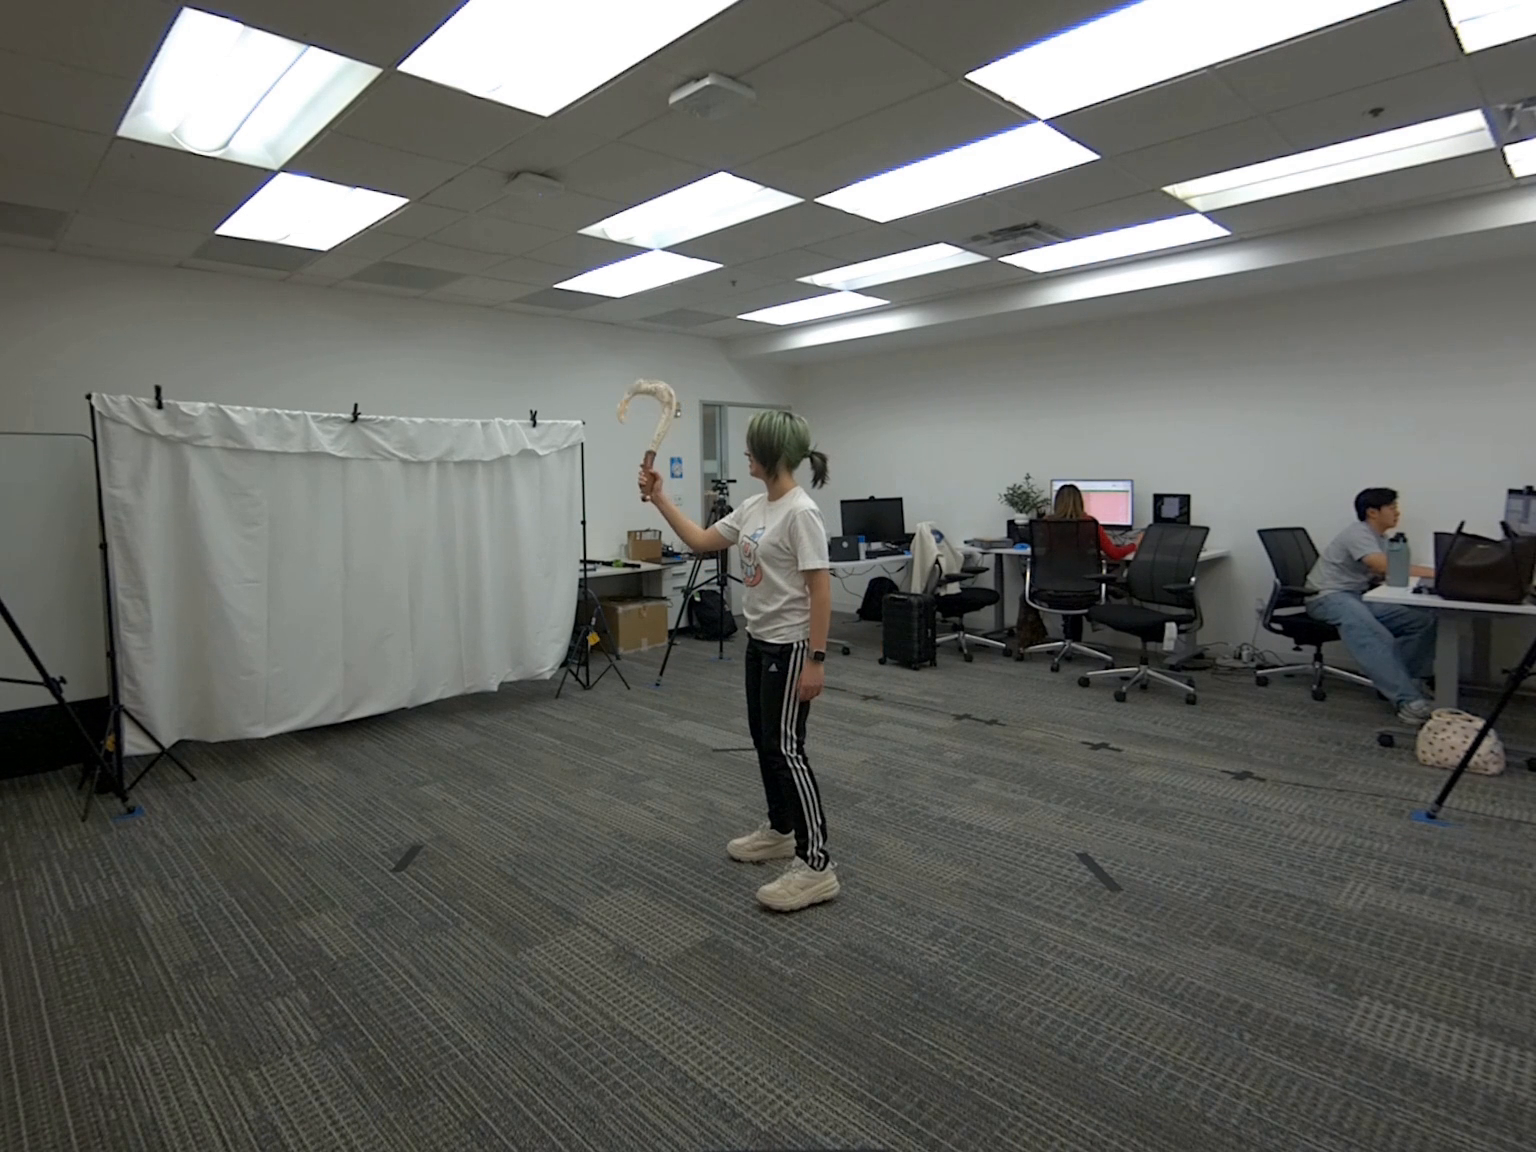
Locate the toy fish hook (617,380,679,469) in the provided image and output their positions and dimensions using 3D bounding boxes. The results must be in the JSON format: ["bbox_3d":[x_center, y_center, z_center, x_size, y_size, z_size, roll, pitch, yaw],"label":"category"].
[{"bbox_3d":[-0.492,-0.506,3.262,0.226,0.514,0.047,2,-19,7],"label":"toy fish hook"}]
